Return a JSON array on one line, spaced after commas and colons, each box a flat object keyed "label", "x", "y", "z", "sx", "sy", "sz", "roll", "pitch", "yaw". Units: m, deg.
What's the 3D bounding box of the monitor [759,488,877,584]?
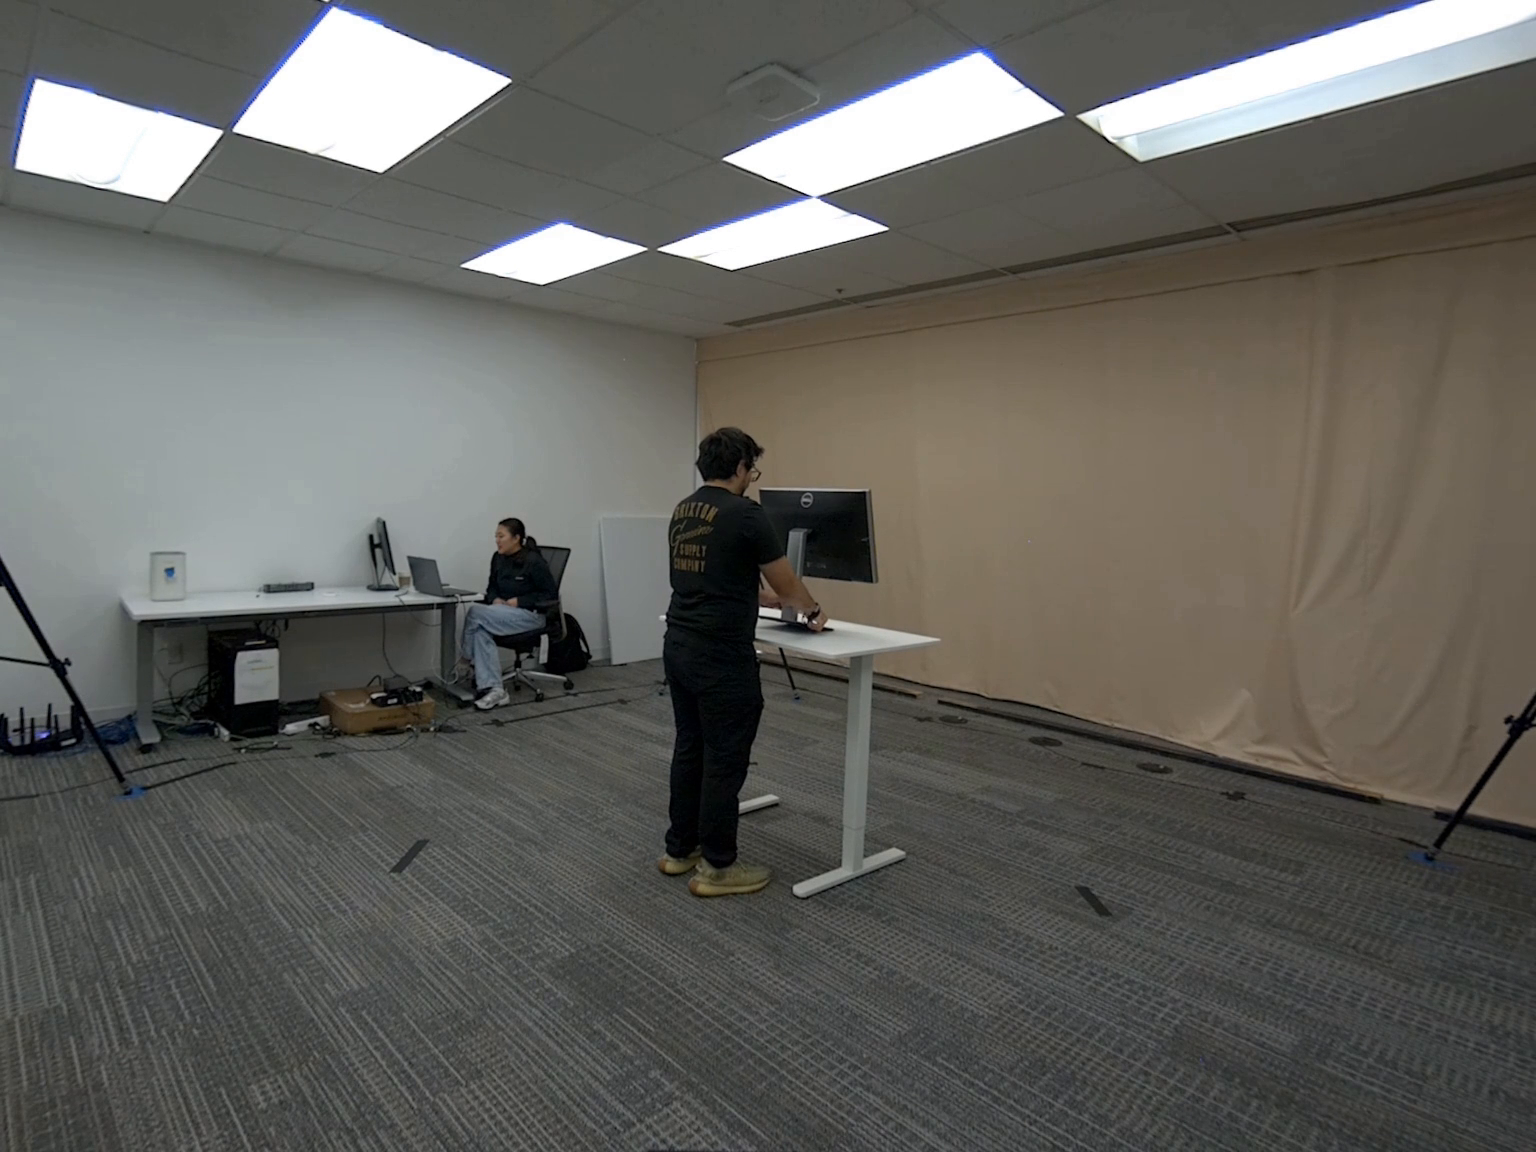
[{"label": "monitor", "x": 0.133, "y": -0.073, "z": 3.321, "sx": 0.580, "sy": 0.552, "sz": 0.205, "roll": 6, "pitch": 6, "yaw": 44}]
